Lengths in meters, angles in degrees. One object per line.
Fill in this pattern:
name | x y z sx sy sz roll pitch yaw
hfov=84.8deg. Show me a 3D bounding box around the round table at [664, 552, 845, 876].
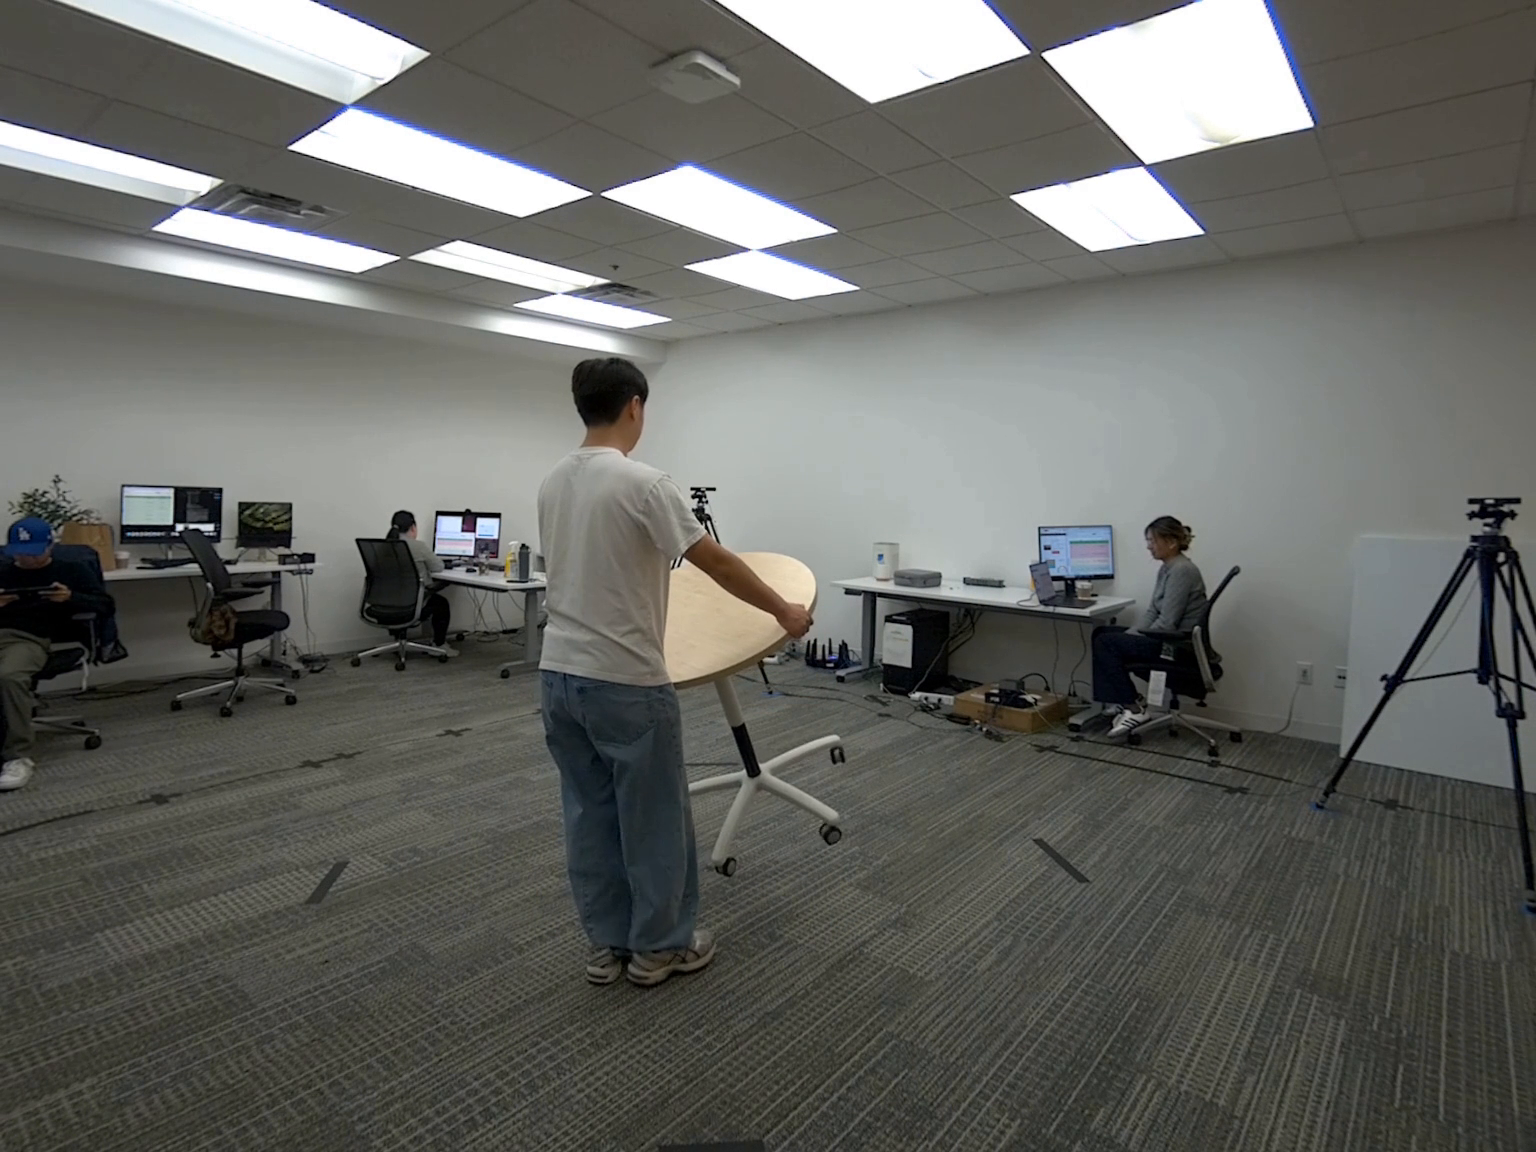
round table | -0.124 0.464 2.855 0.767 0.773 0.781 -14 24 5
